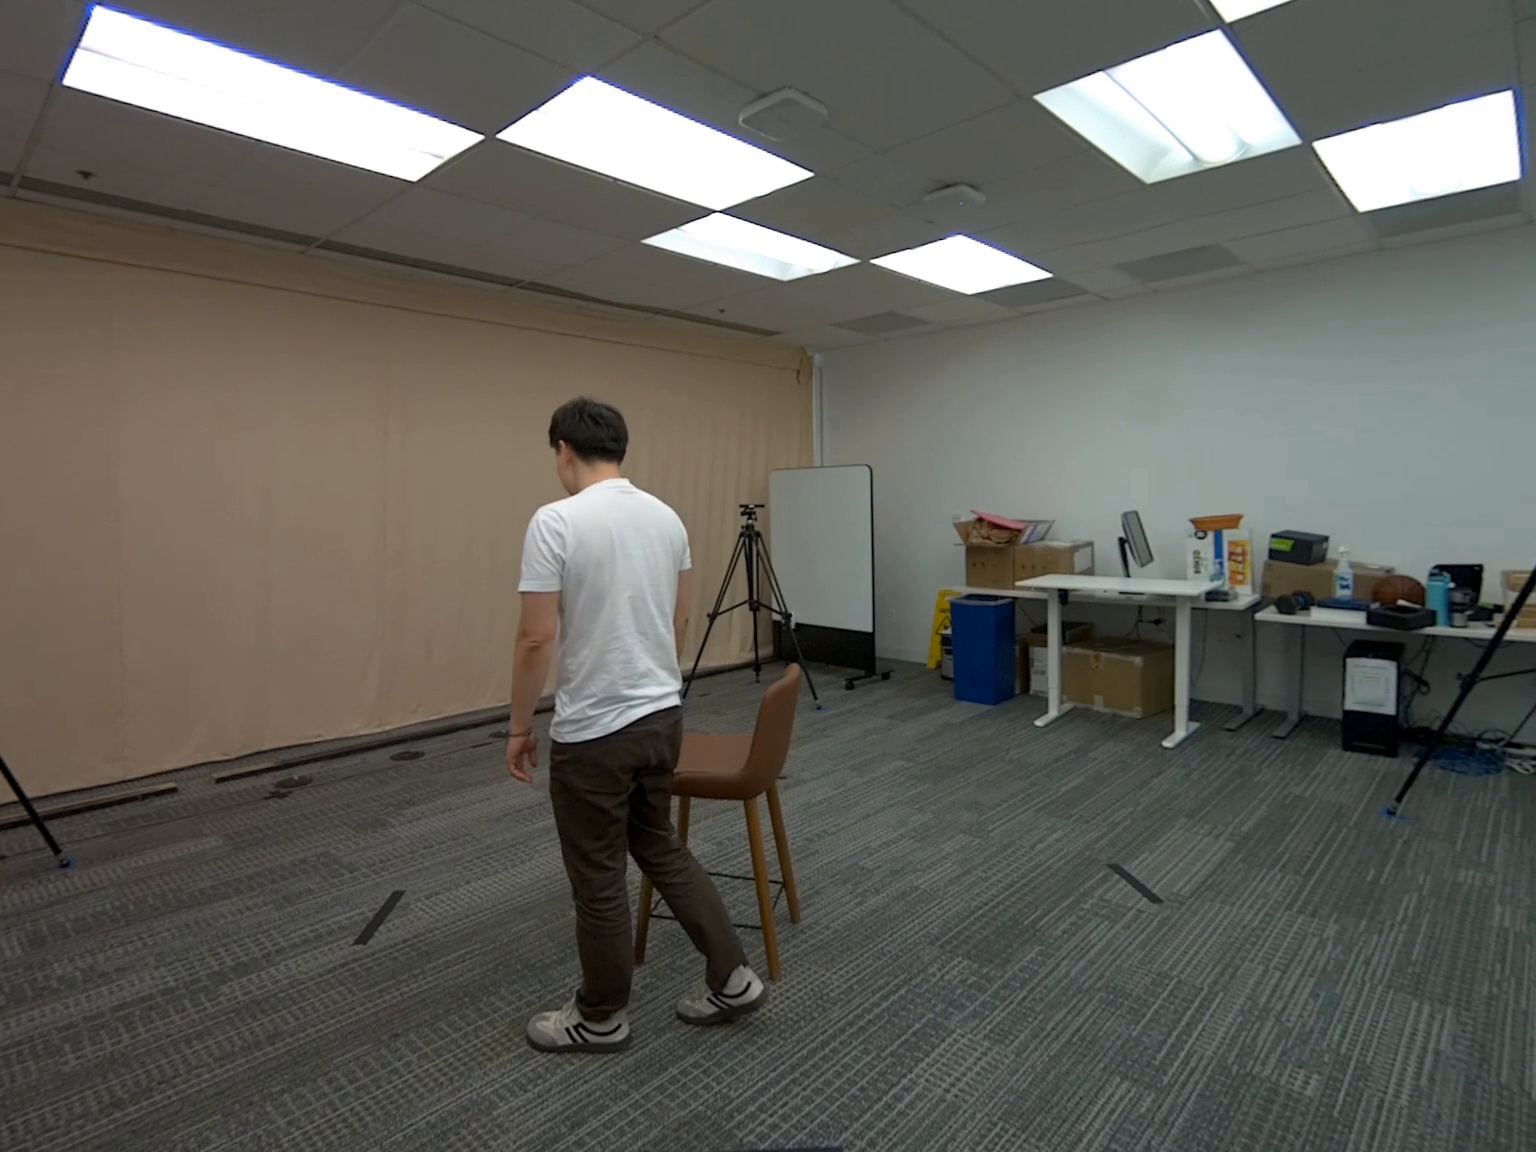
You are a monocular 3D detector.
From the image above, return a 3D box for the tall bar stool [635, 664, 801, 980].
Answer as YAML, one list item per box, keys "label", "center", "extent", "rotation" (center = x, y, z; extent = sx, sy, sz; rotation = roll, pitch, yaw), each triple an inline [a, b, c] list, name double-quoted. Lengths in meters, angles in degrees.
- label: "tall bar stool"
  center: [-0.146, 0.736, 2.669]
  extent: [0.476, 0.887, 0.450]
  rotation: [1, 4, 15]
